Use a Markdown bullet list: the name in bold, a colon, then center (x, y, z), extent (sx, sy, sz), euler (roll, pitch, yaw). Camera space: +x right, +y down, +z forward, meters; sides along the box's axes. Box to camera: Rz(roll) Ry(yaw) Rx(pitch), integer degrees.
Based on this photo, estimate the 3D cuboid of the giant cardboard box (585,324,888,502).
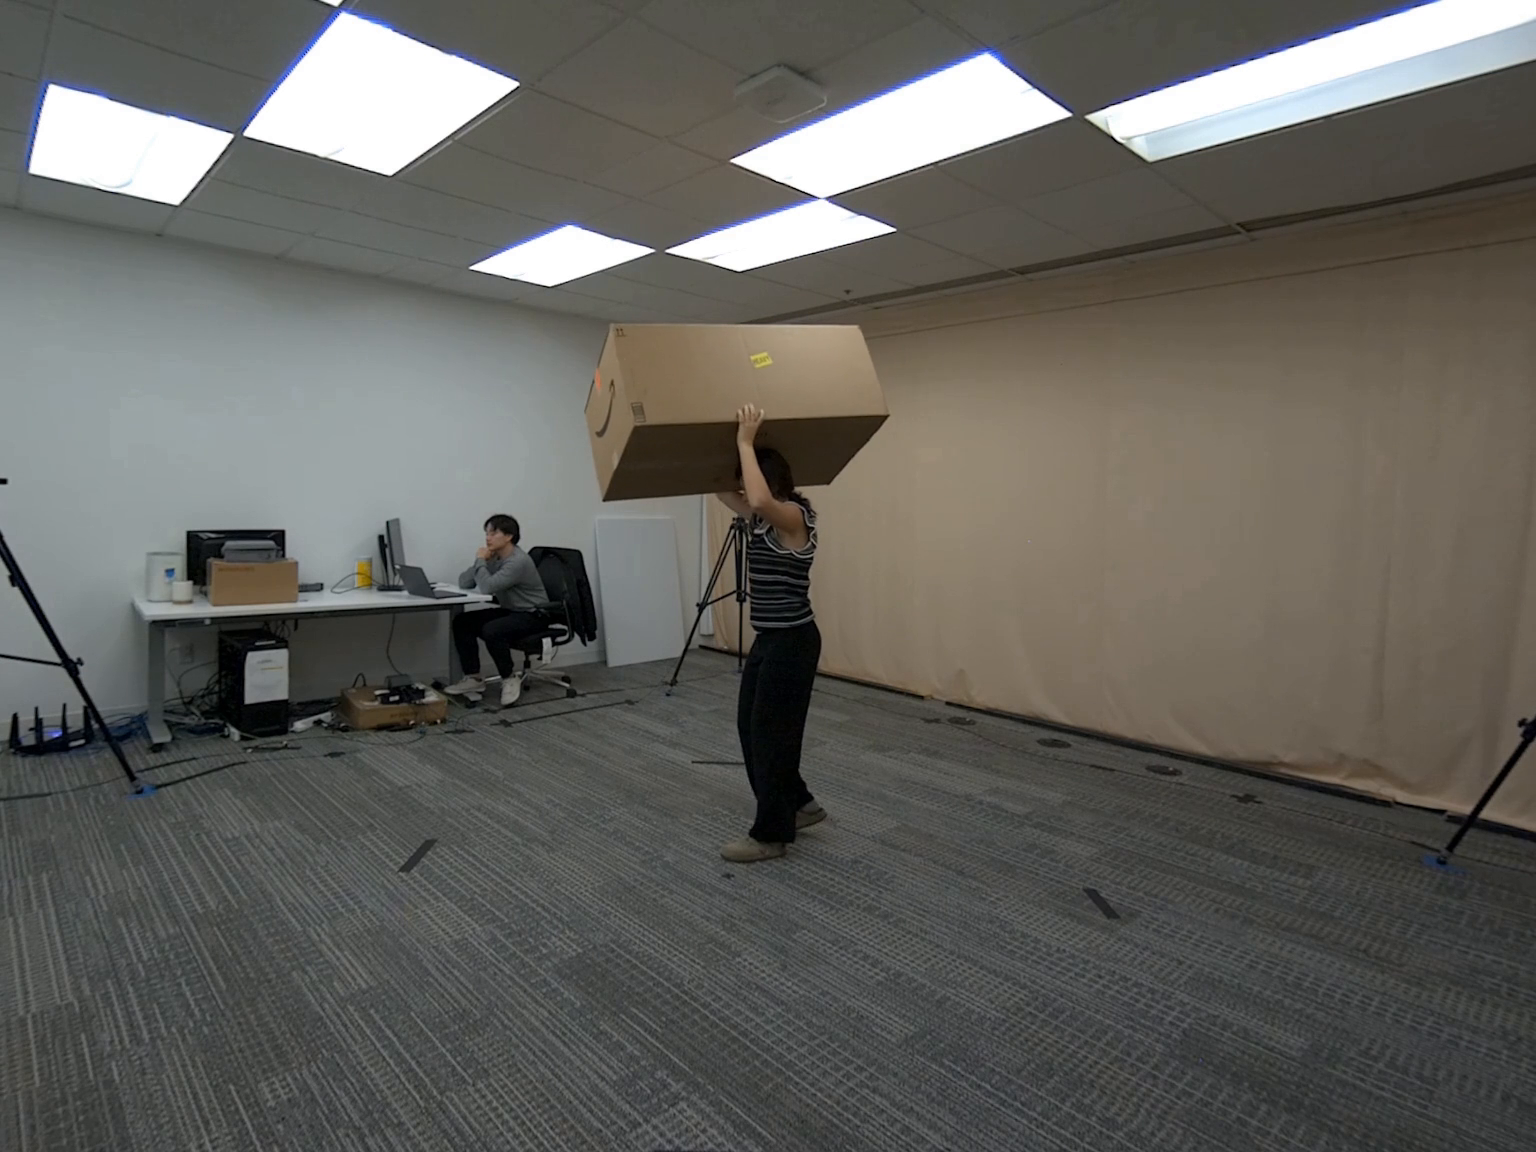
- **giant cardboard box**: center (-0.150, -0.637, 3.340), extent (1.010, 0.433, 0.576), euler (-7, -20, -23)
